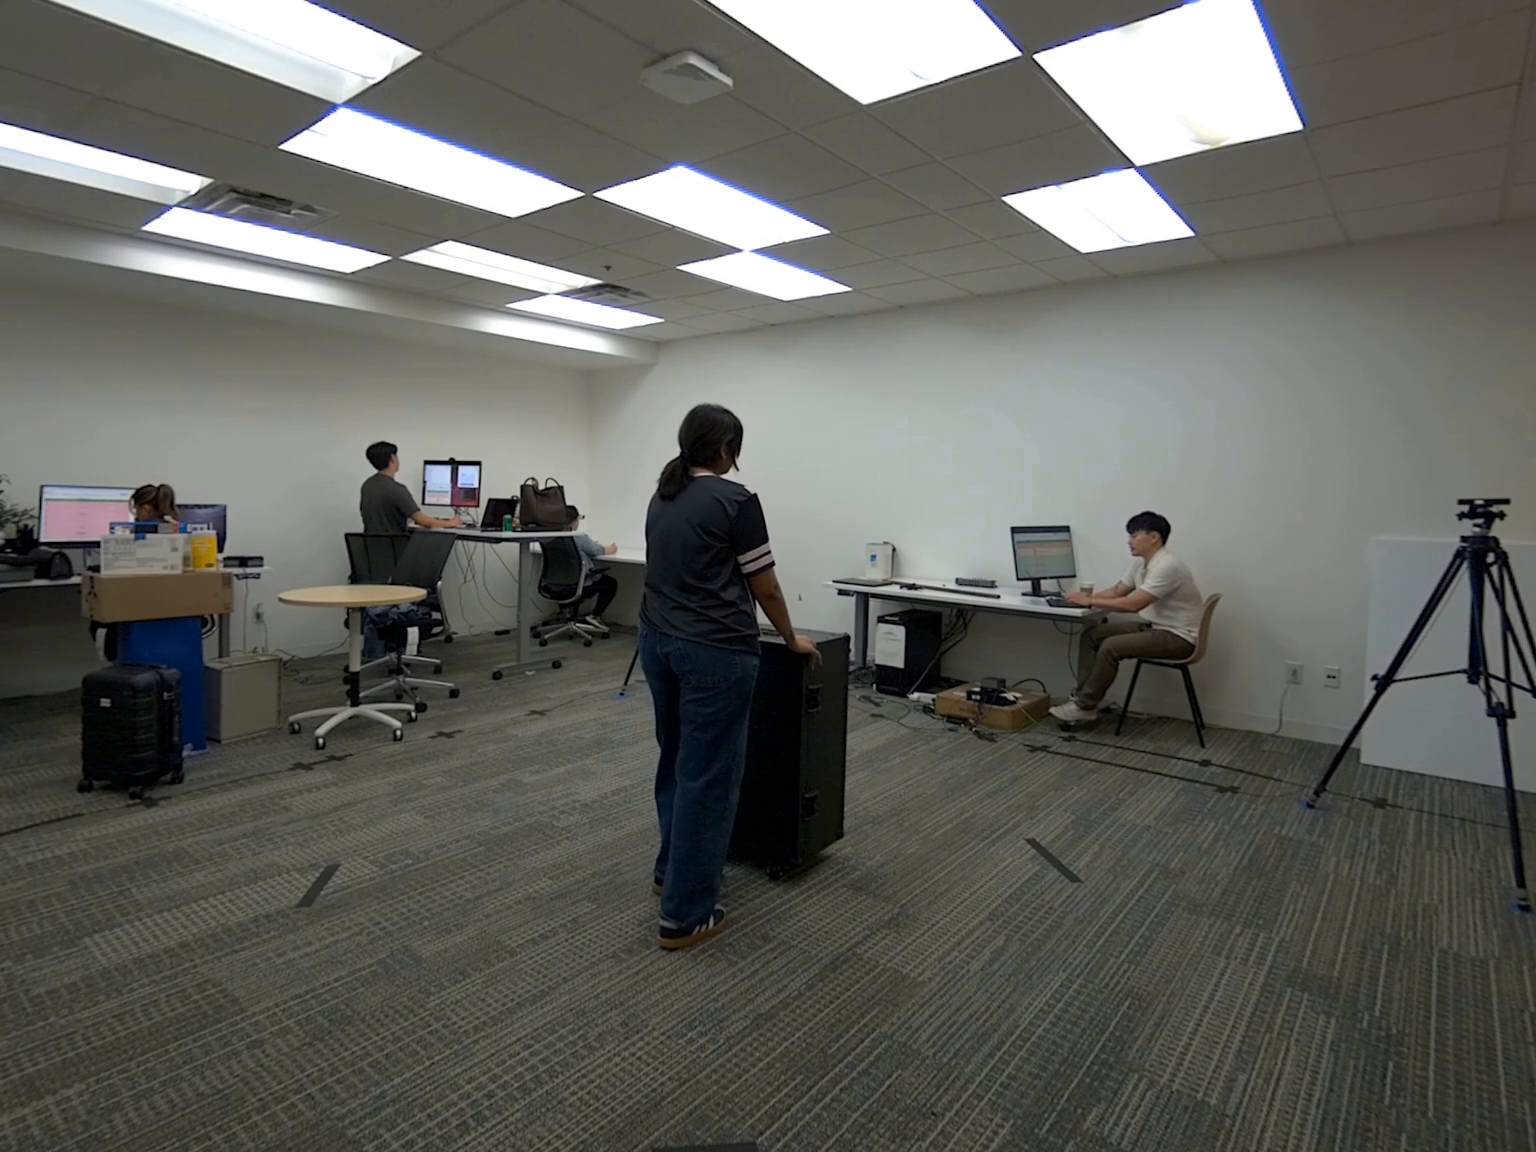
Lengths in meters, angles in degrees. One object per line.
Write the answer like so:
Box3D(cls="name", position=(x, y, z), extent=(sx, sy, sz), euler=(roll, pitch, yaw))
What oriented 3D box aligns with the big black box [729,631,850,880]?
Box3D(cls="big black box", position=(-0.005, 0.641, 3.247), extent=(0.540, 0.867, 0.374), euler=(4, 3, 33))
